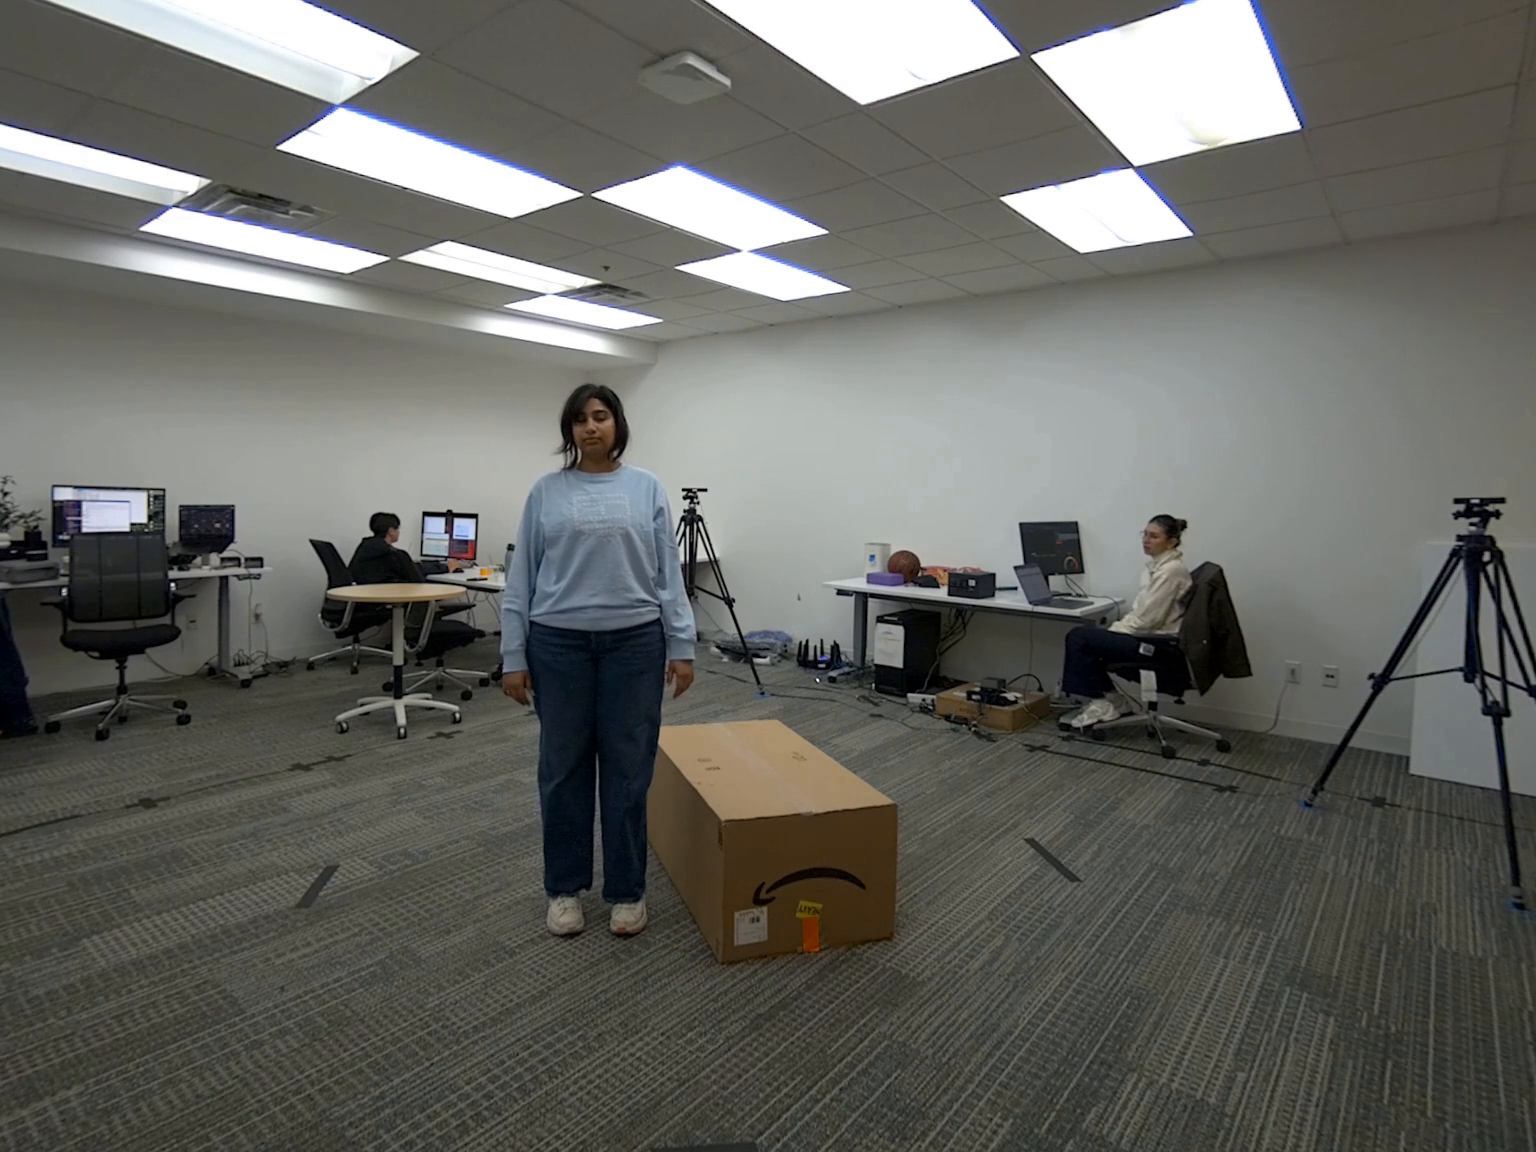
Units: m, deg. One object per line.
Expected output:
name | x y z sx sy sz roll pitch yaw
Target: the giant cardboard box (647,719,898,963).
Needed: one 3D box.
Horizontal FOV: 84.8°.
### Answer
giant cardboard box | -0.057 0.866 3.036 0.566 0.424 1.050 -1 5 -20
